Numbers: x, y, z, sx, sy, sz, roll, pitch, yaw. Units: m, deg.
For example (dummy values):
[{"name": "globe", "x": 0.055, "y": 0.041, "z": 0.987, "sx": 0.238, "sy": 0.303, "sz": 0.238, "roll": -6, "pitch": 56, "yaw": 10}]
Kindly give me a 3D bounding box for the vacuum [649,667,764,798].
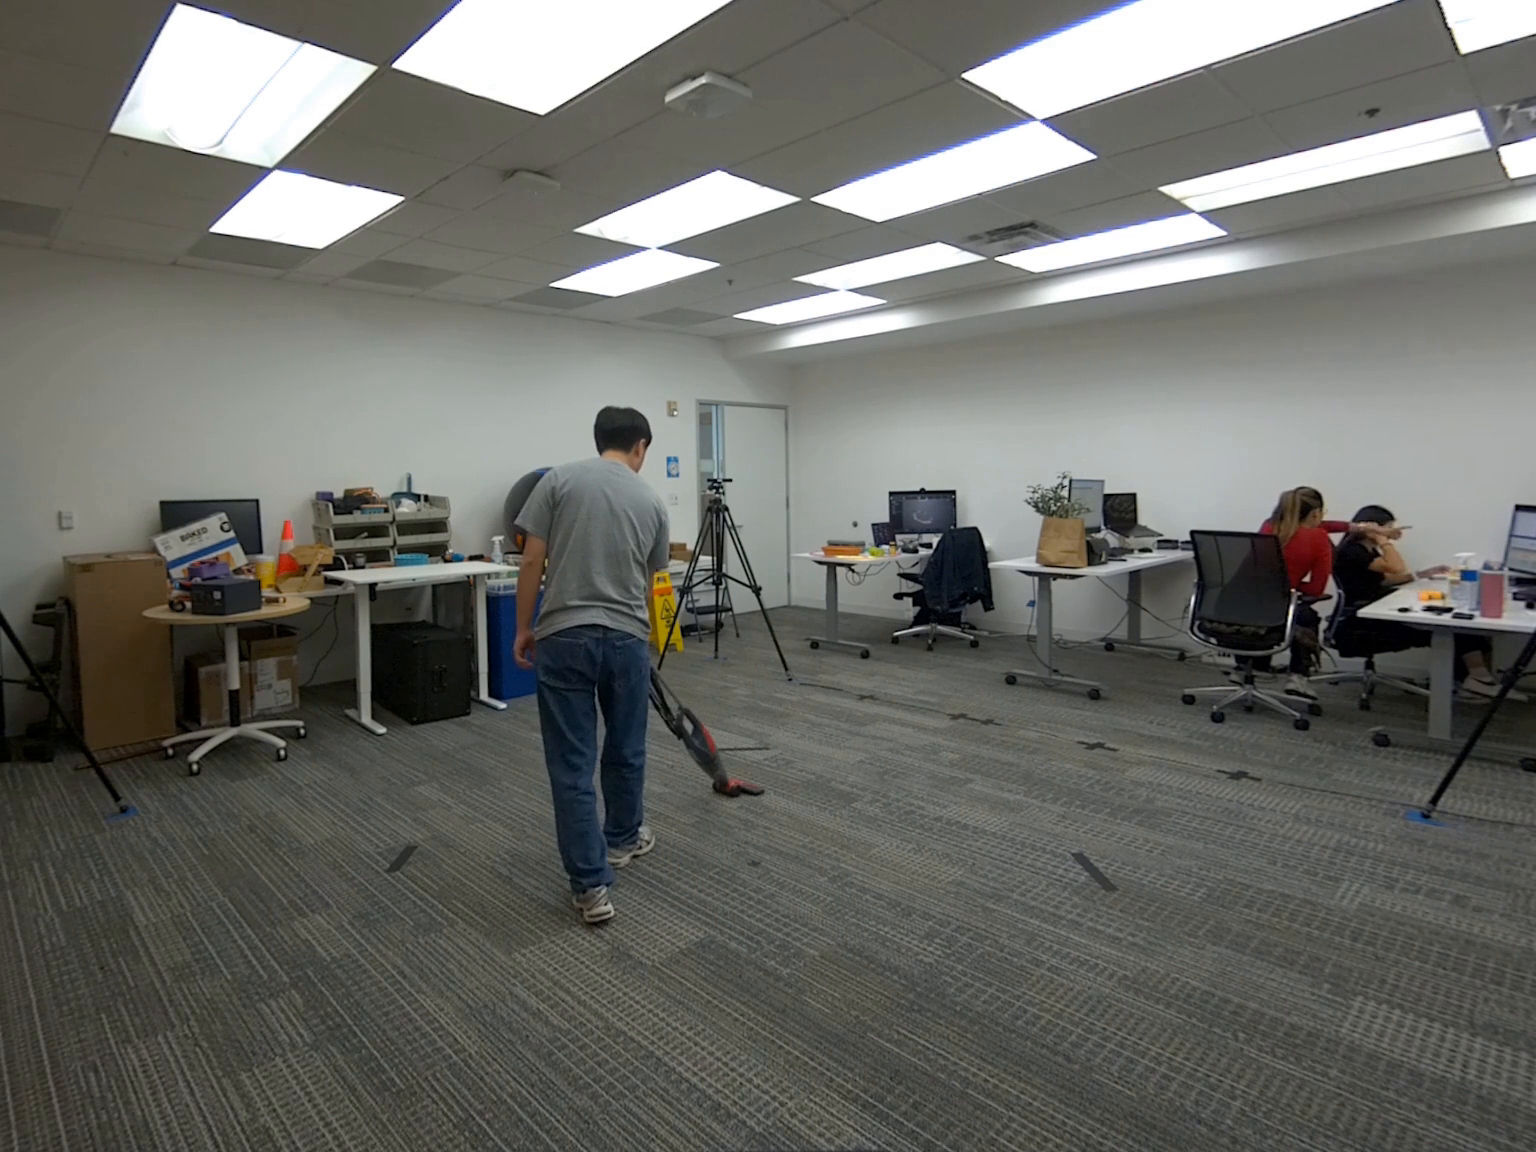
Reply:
[{"name": "vacuum", "x": -0.372, "y": 0.590, "z": 3.585, "sx": 0.259, "sy": 1.014, "sz": 0.145, "roll": -2, "pitch": 42, "yaw": 39}]
